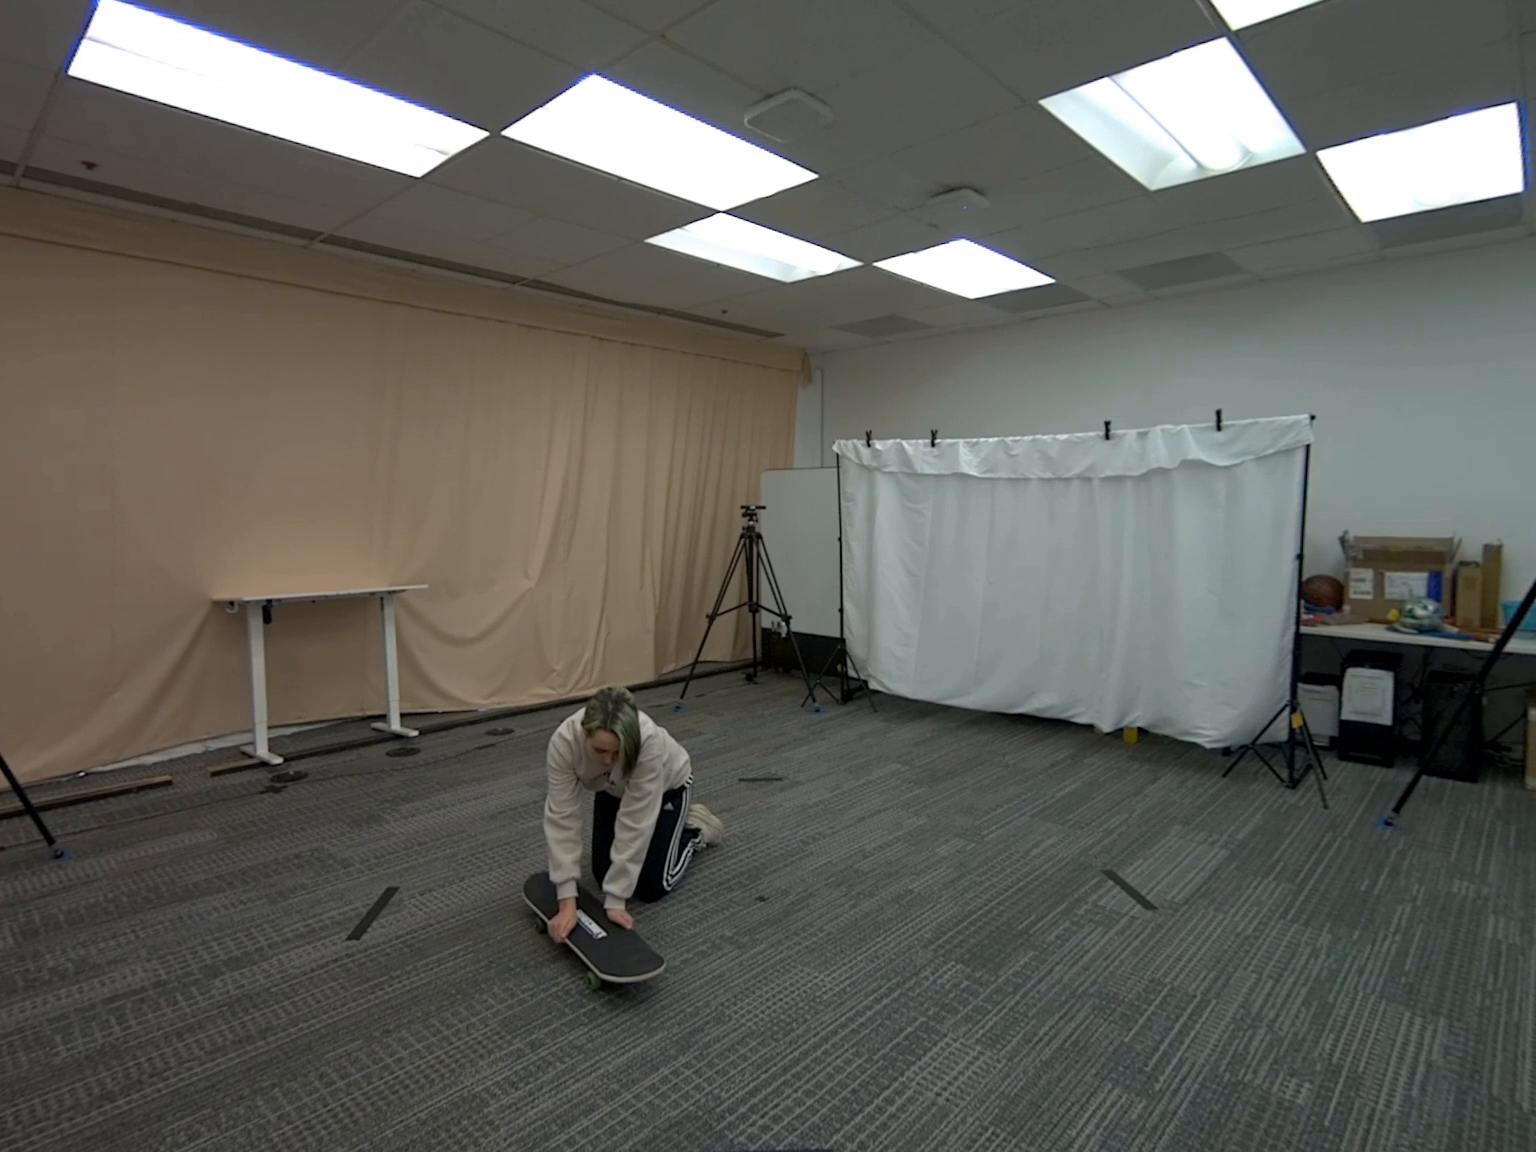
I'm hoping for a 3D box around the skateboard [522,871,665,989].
[{"bbox_3d":[-0.561,1.115,2.636,0.188,0.110,0.810,-3,5,-36],"label":"skateboard"}]
